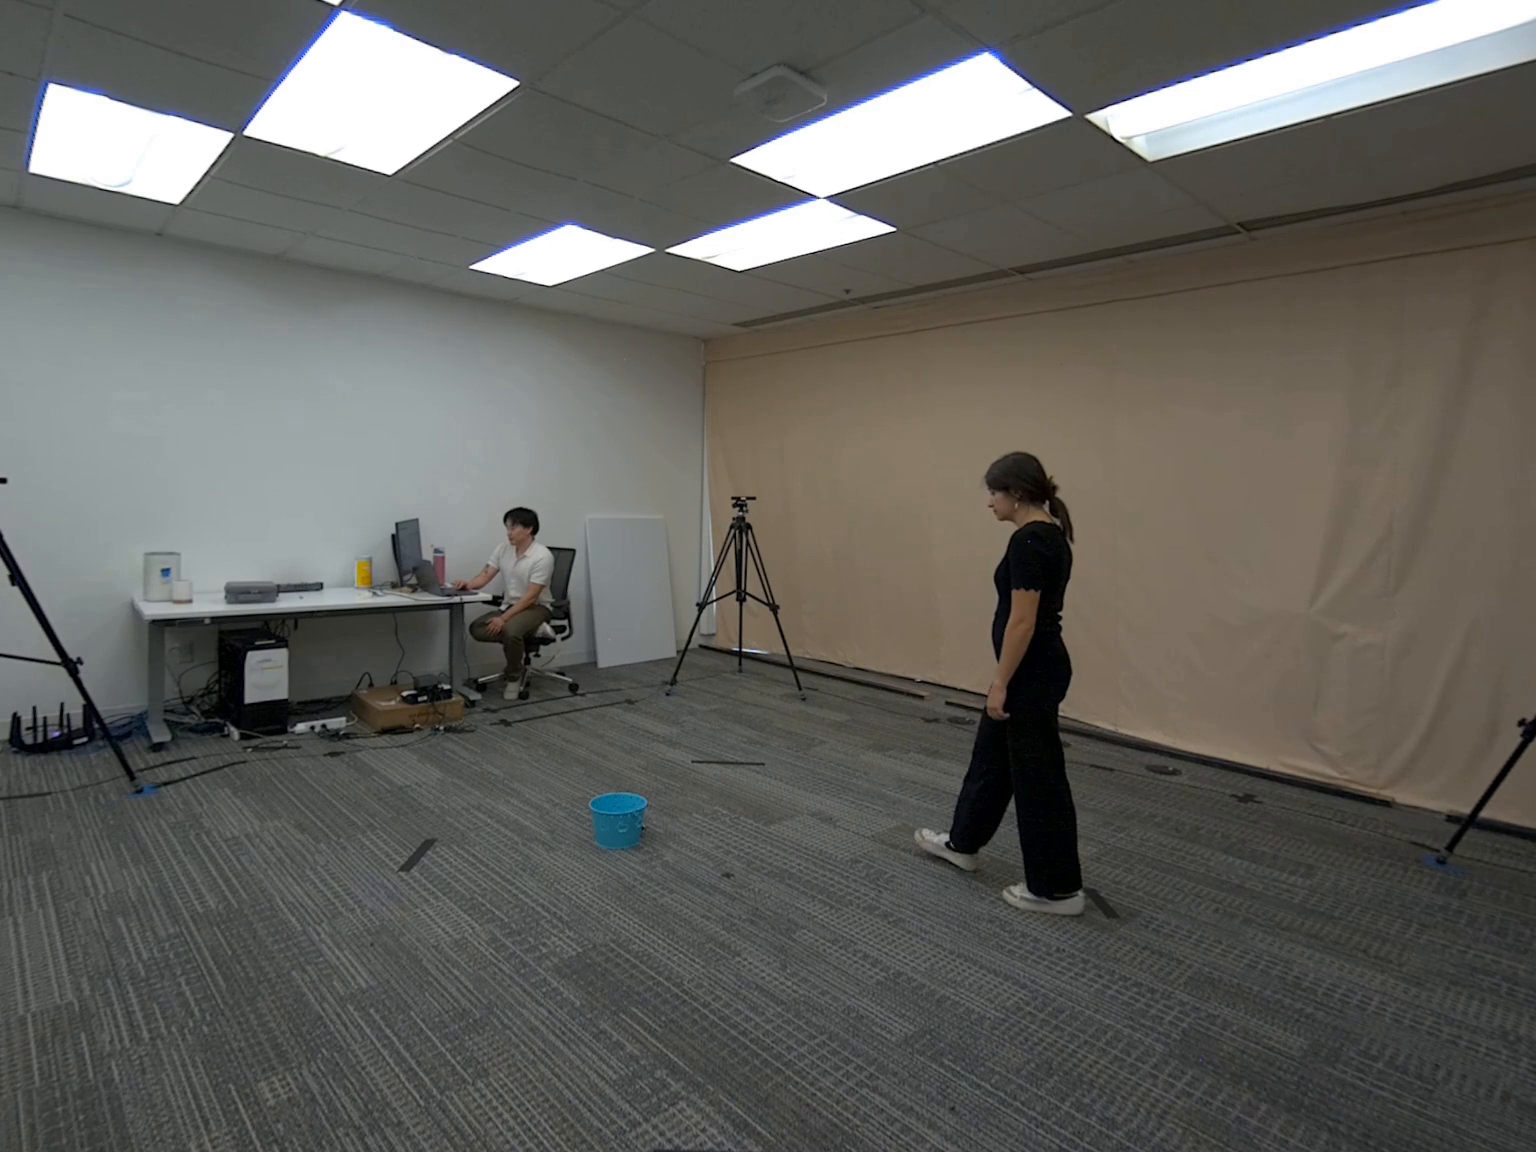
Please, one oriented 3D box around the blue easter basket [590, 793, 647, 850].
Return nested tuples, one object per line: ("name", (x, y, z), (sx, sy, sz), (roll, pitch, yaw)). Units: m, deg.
("blue easter basket", (-0.604, 0.982, 3.395), (0.243, 0.155, 0.244), (1, 4, -1))
